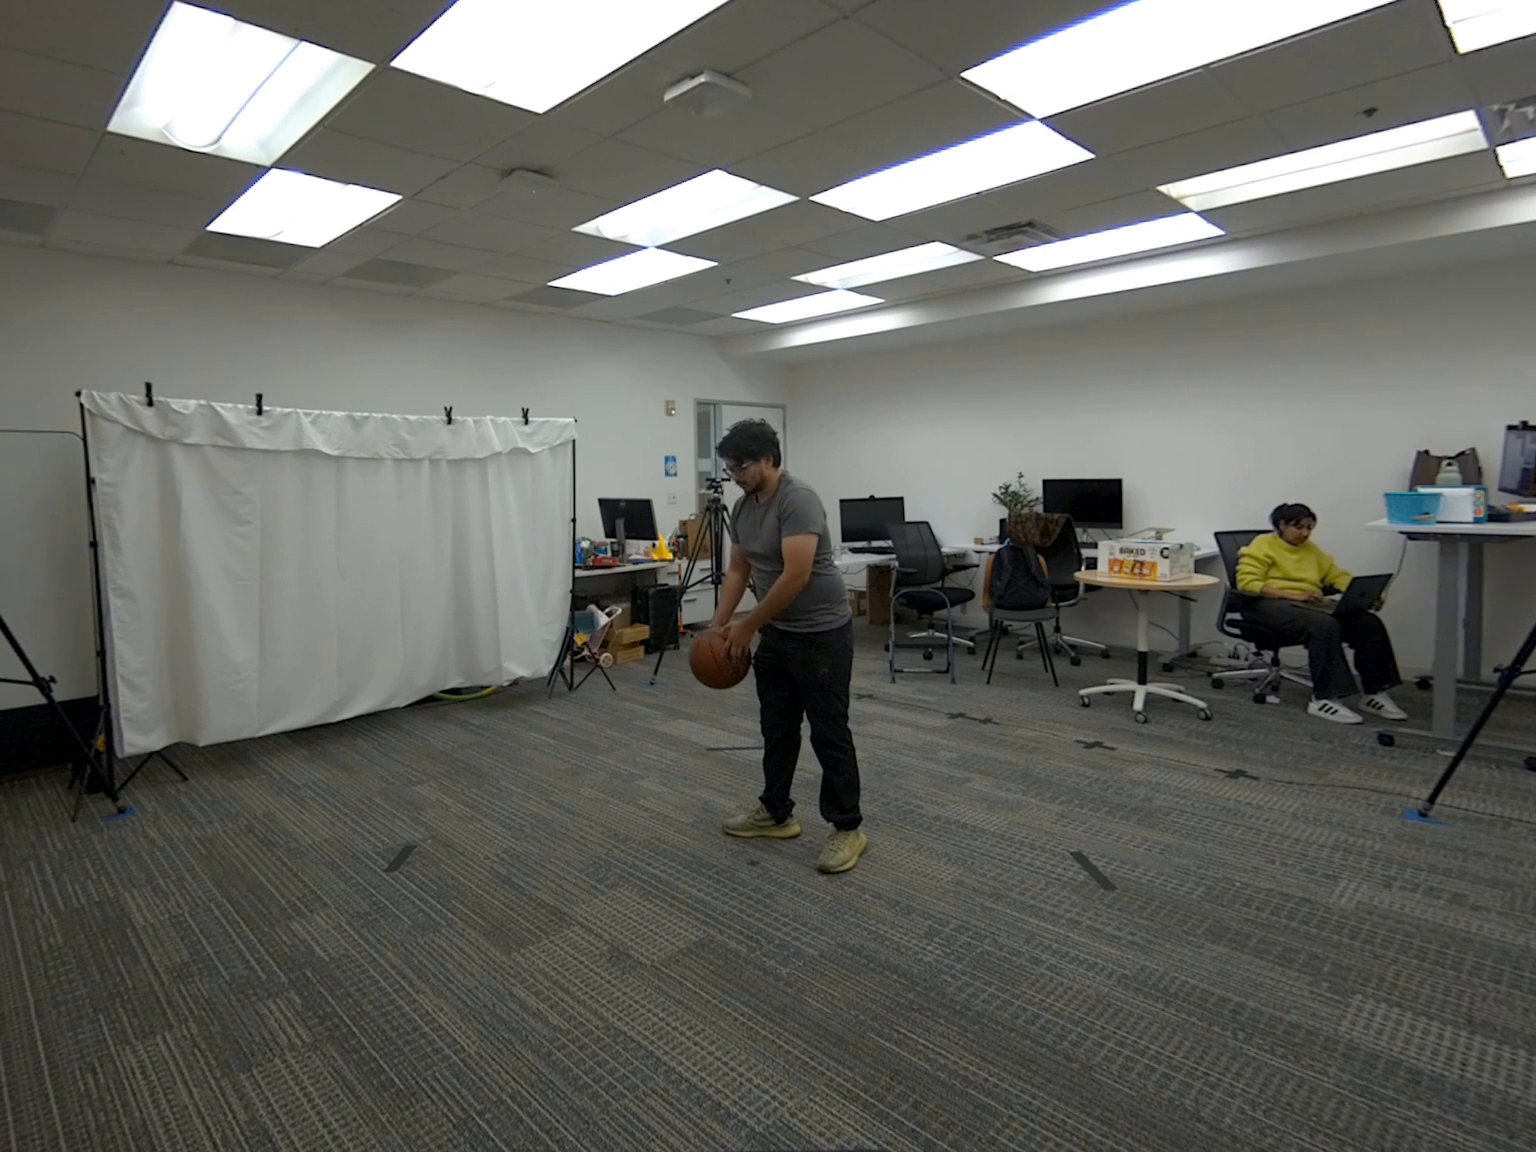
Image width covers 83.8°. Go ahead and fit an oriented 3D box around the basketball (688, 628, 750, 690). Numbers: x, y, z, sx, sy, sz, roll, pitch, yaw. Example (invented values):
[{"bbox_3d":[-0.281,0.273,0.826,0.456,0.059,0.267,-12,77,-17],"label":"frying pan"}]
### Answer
[{"bbox_3d":[-0.184,0.302,3.259,0.236,0.235,0.237,-1,5,-2],"label":"basketball"}]
